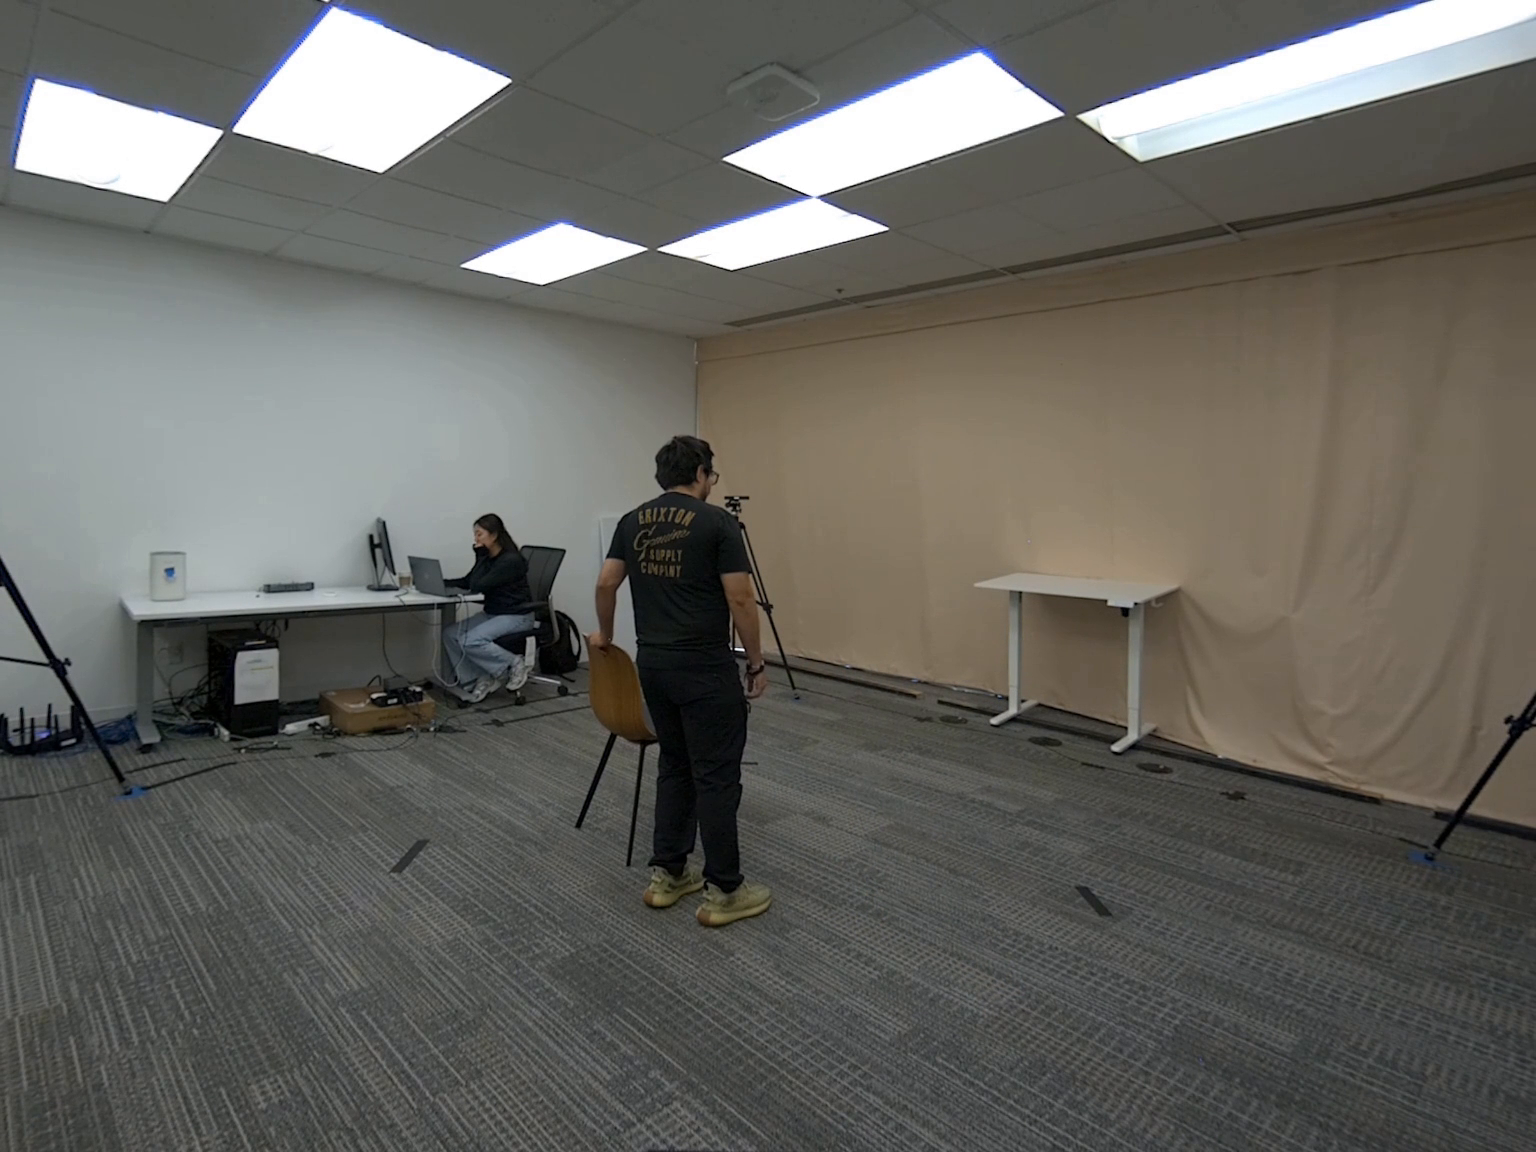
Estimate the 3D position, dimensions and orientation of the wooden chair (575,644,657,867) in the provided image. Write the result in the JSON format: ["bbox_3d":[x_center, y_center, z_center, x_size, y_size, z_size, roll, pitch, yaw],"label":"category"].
[{"bbox_3d":[-0.478,0.640,3.445,0.512,0.873,0.490,-6,8,-37],"label":"wooden chair"}]
